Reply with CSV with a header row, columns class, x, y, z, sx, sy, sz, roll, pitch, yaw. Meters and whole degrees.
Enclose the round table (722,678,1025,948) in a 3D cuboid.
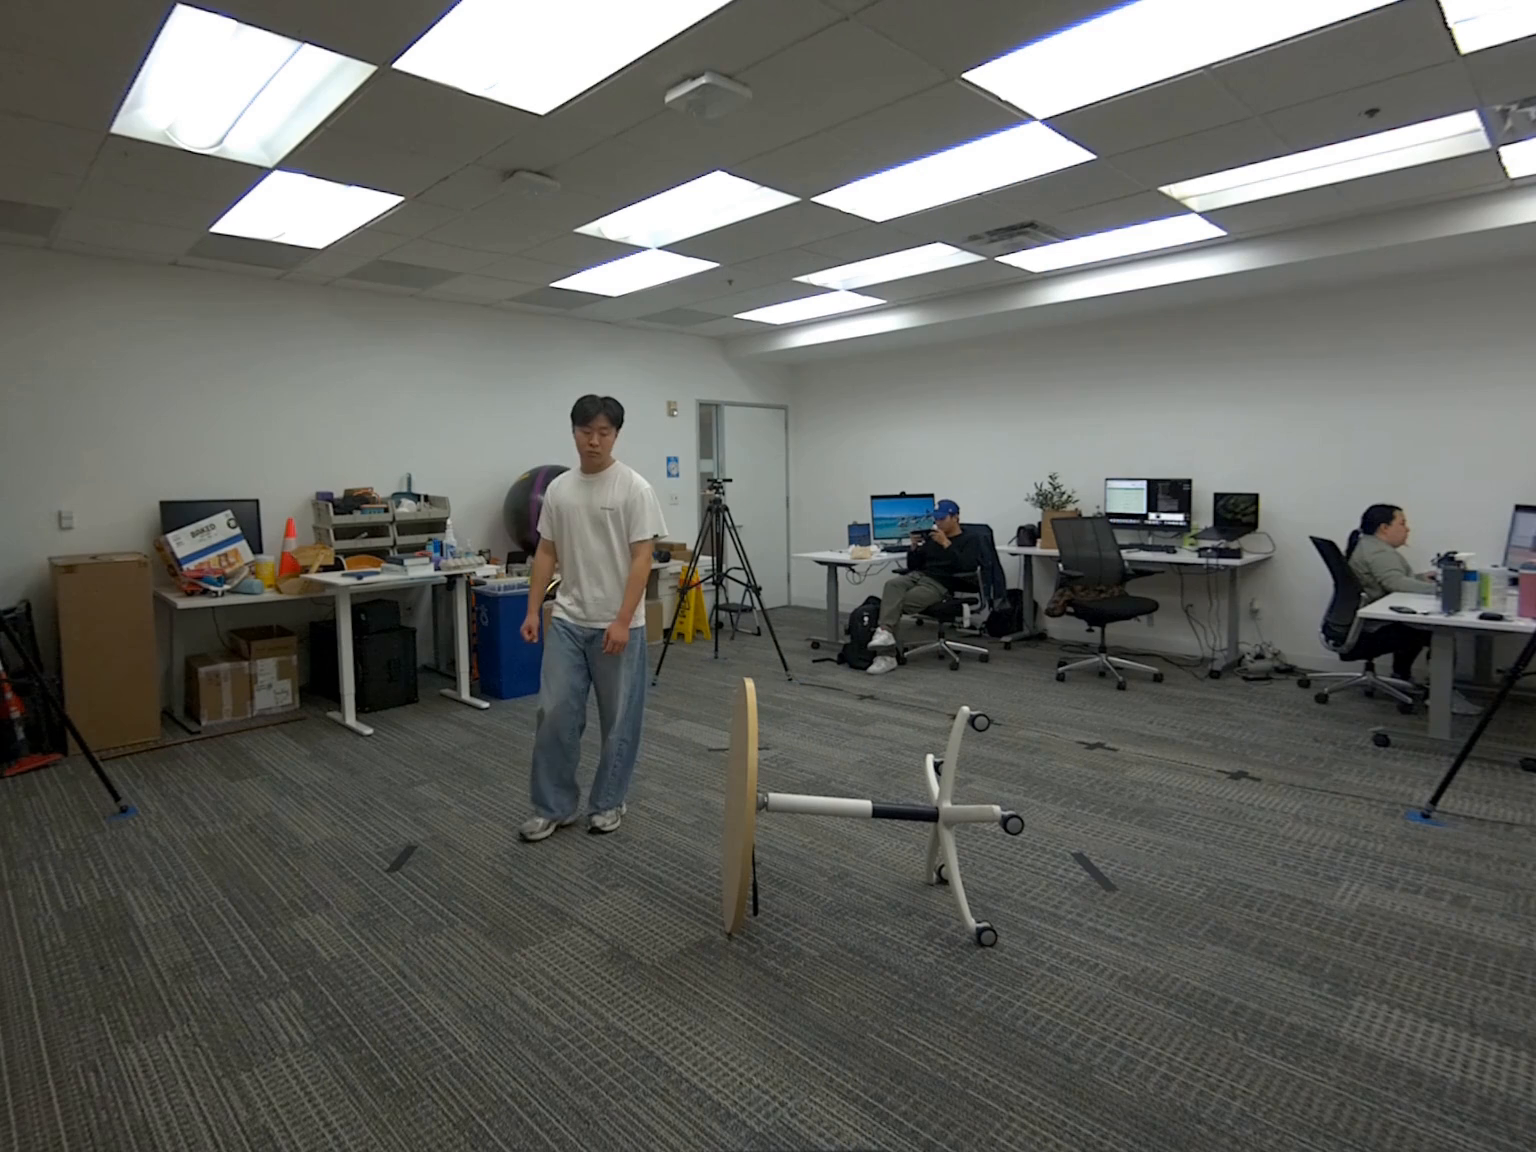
class,x,y,z,sx,sy,sz,roll,pitch,yaw
round table,0.287,0.735,2.732,0.783,0.783,0.791,4,4,-5
